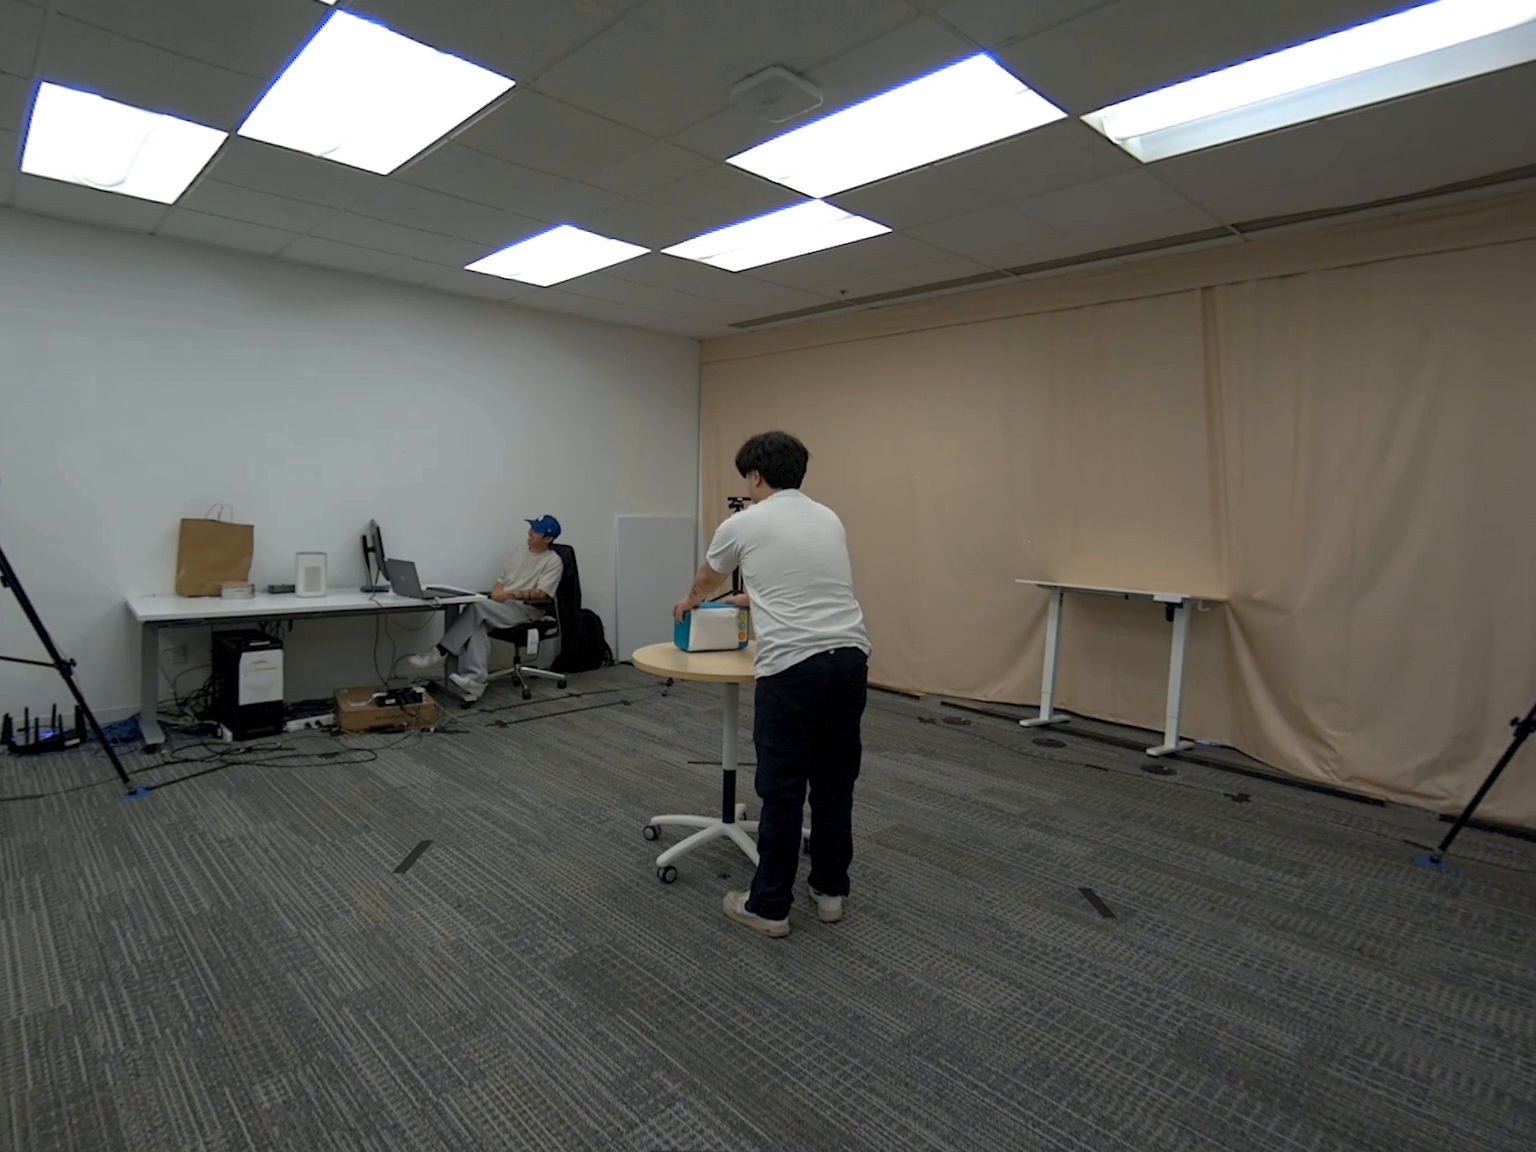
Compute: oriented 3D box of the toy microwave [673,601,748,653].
[{"bbox_3d":[-0.227,0.202,3.351,0.281,0.184,0.155,0,4,-27],"label":"toy microwave"}]
